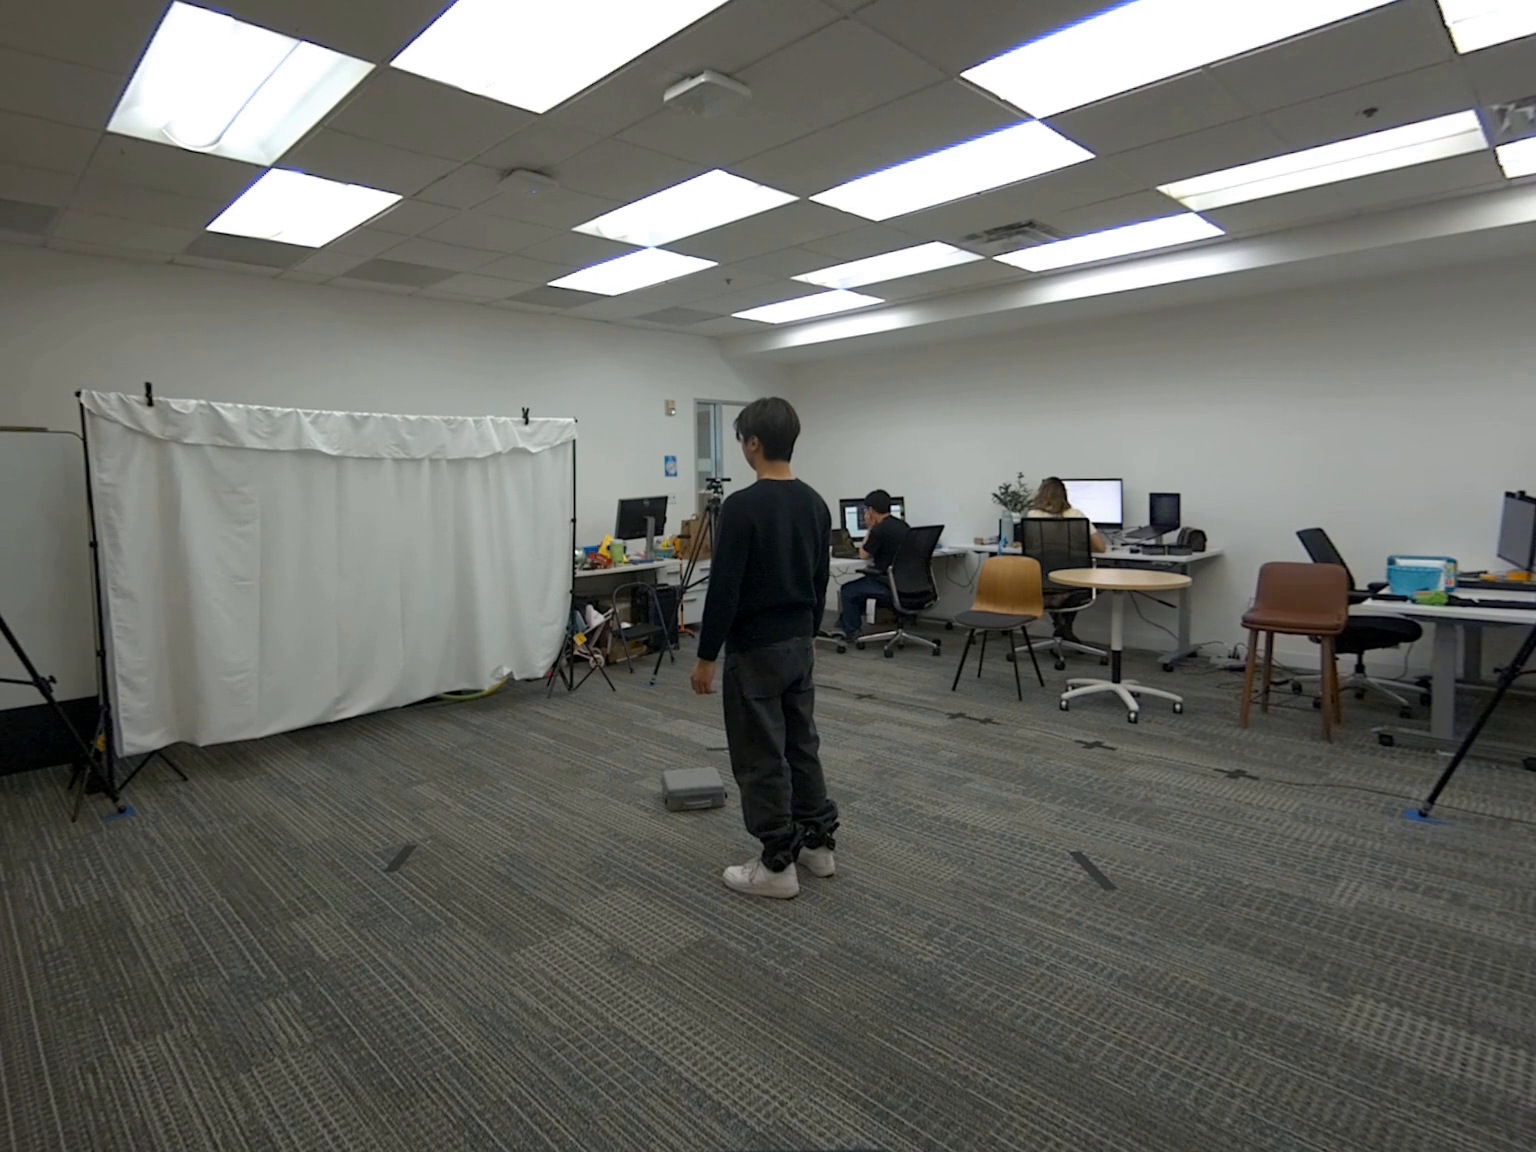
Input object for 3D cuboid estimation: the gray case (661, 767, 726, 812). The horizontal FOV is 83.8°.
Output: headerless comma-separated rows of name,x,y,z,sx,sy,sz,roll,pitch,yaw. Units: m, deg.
gray case,-0.324,0.923,3.722,0.254,0.104,0.265,-1,7,-11
